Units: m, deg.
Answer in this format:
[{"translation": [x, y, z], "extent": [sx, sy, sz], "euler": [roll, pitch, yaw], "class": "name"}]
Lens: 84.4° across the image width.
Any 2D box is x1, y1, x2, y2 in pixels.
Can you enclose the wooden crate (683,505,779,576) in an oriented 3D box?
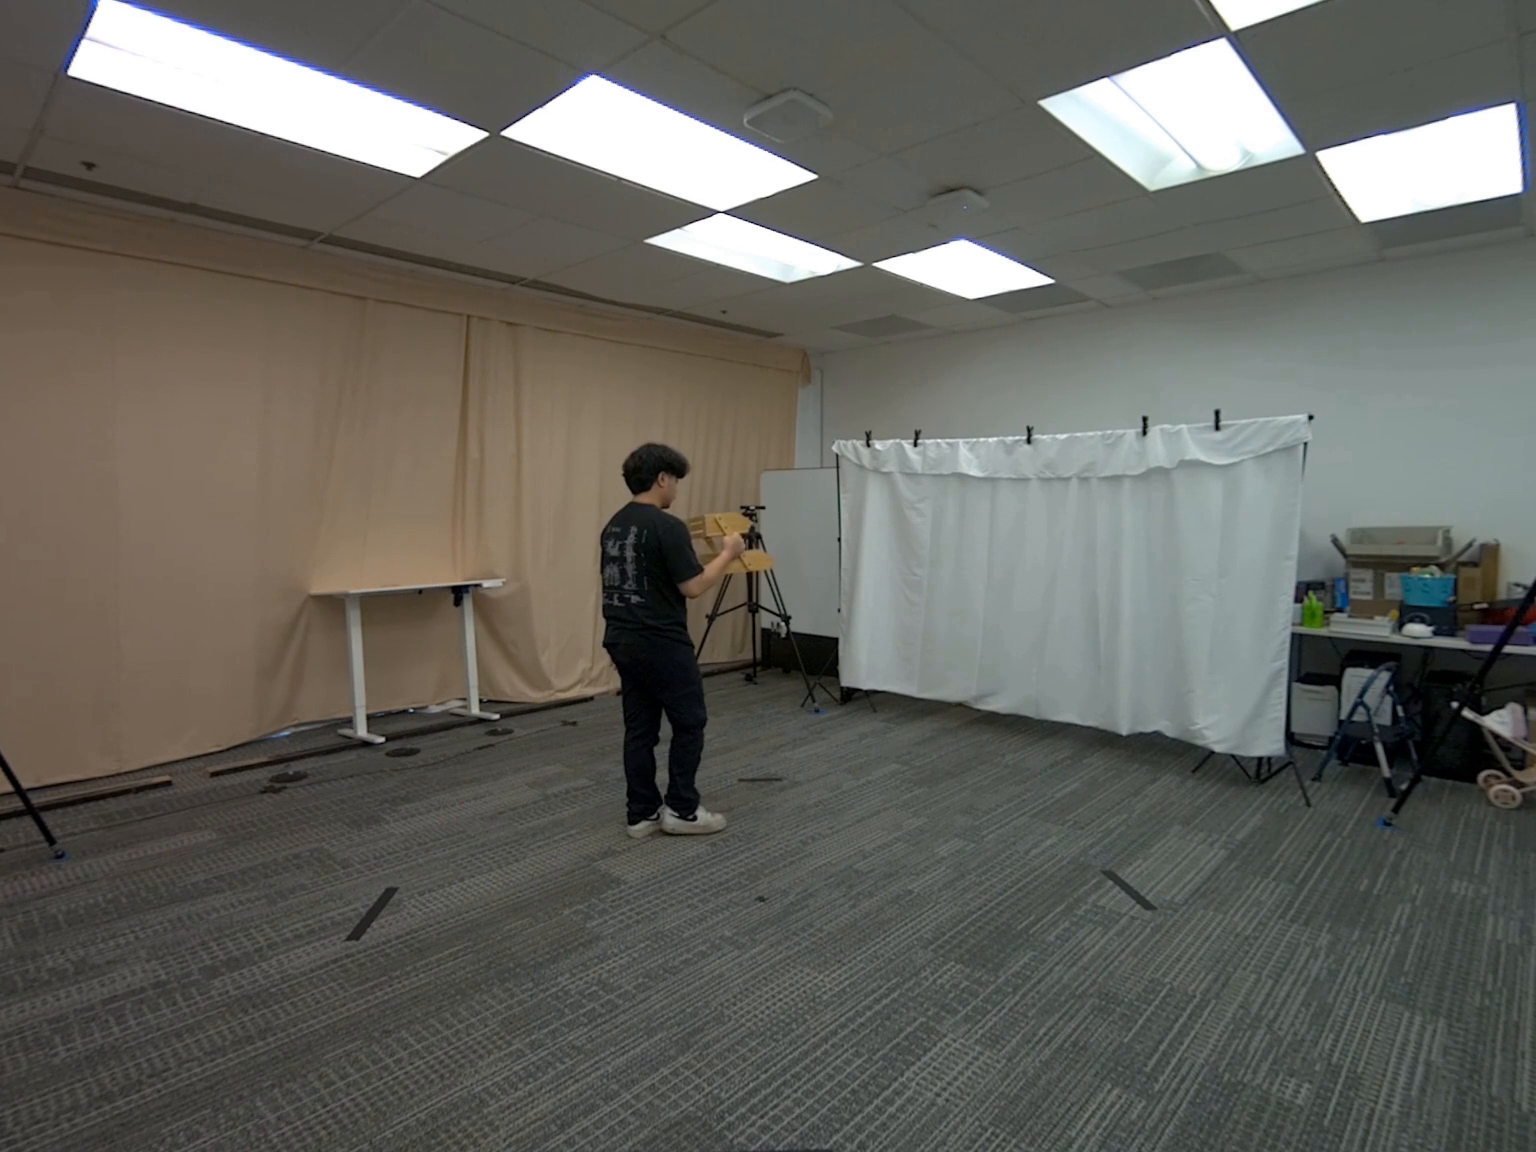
[{"translation": [-0.172, -0.151, 3.759], "extent": [0.296, 0.273, 0.331], "euler": [-7, 1, -21], "class": "wooden crate"}]
